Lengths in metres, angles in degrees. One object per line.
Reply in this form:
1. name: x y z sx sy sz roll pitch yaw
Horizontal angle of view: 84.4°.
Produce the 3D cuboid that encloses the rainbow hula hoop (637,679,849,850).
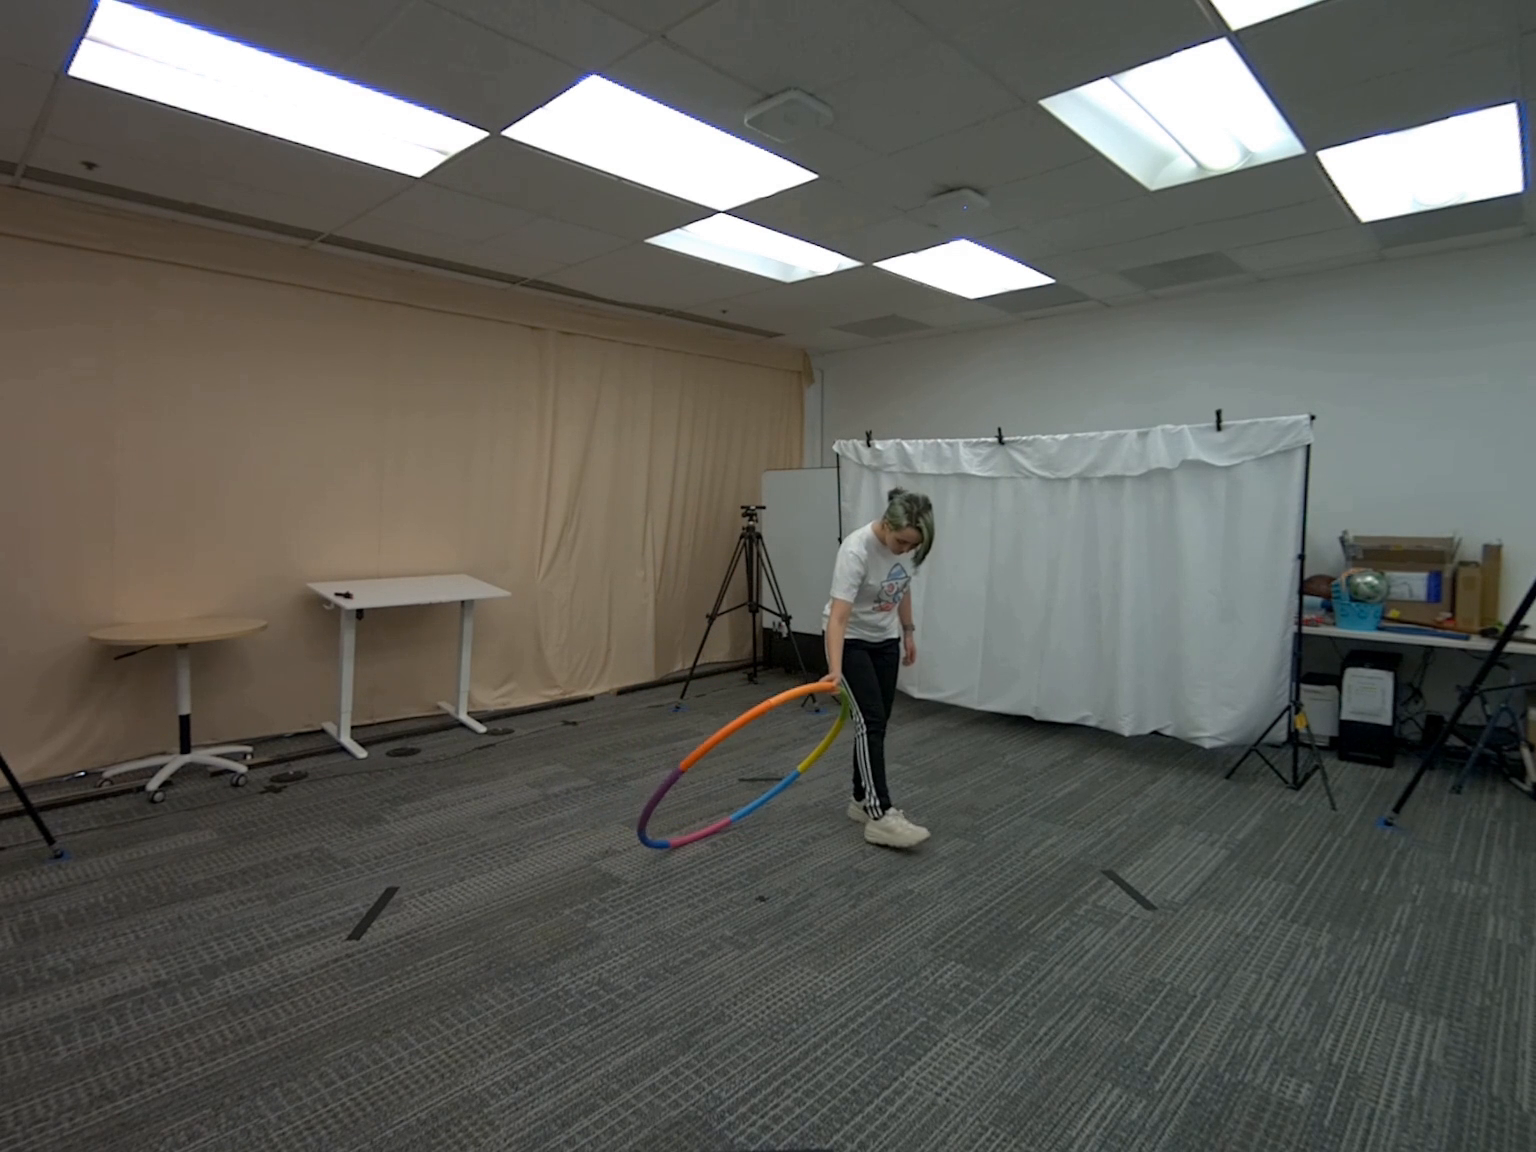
1. rainbow hula hoop: -0.078 0.745 3.271 0.949 0.980 0.036 -4 48 -47
